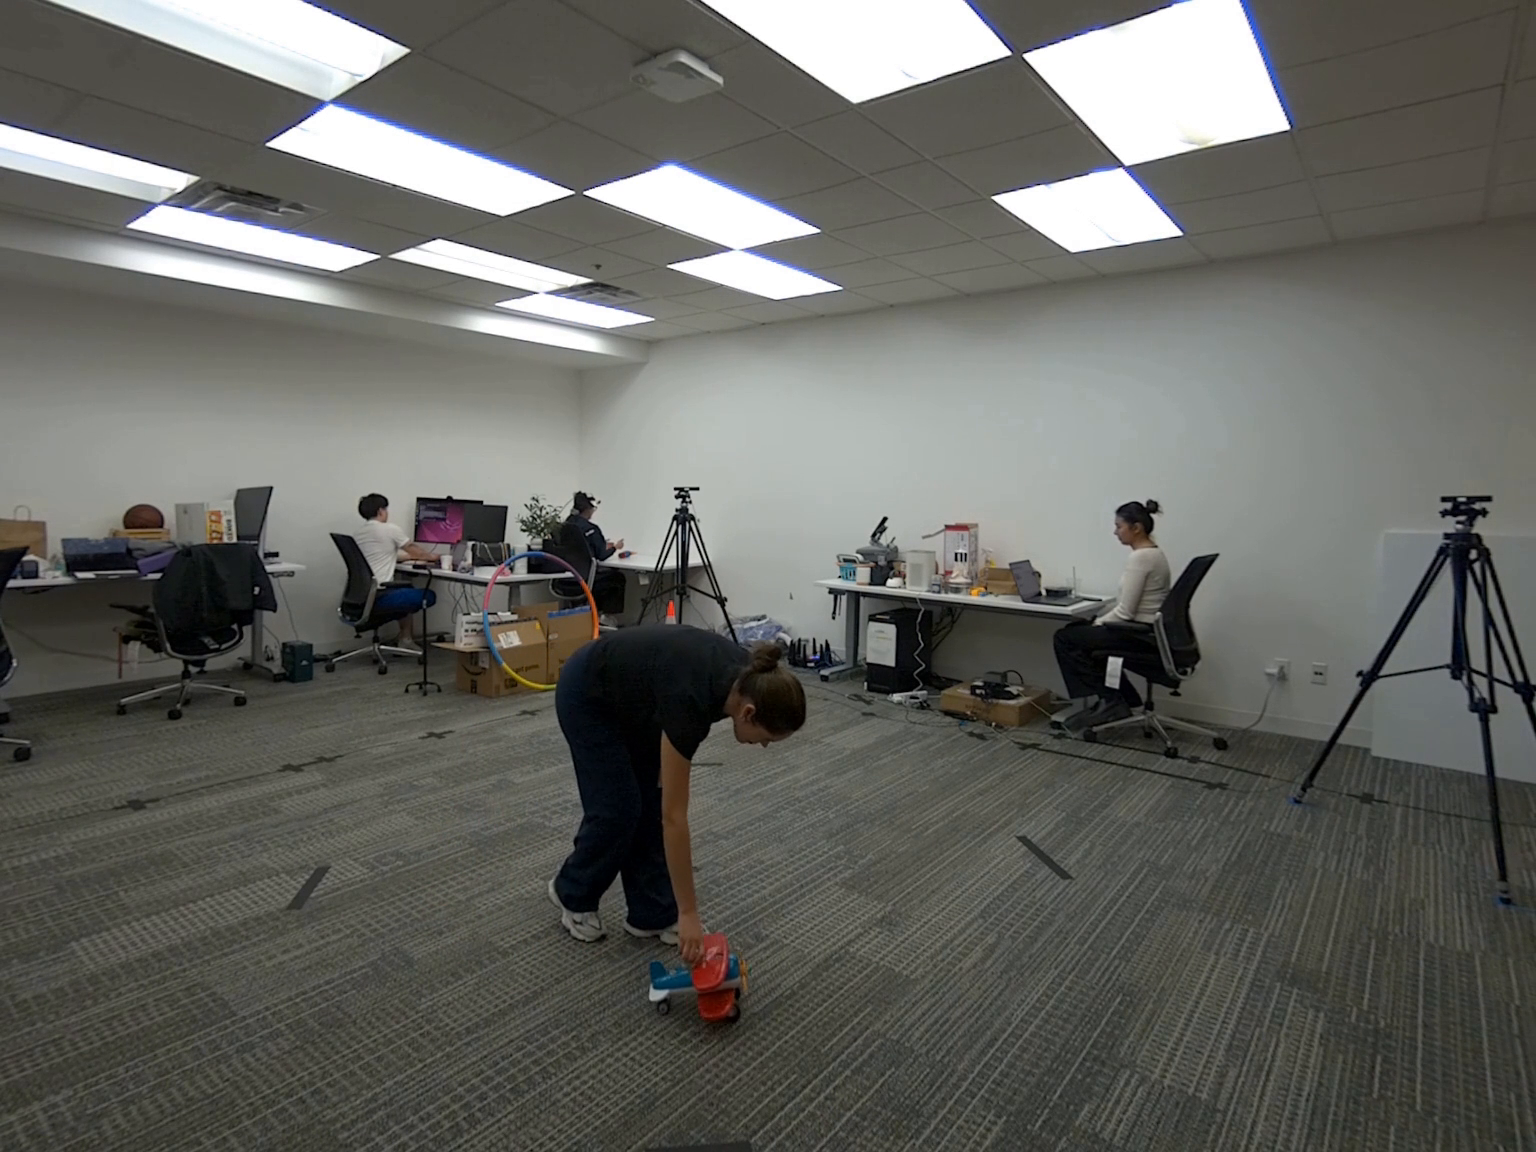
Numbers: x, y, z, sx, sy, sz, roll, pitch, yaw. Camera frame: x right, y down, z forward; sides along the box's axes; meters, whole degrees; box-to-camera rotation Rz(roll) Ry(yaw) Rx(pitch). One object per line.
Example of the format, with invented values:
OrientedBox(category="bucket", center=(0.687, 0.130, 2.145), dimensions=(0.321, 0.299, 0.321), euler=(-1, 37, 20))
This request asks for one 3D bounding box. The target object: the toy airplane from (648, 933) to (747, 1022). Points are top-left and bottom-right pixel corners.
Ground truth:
OrientedBox(category="toy airplane", center=(-0.173, 1.079, 2.258), dimensions=(0.252, 0.156, 0.259), euler=(-1, 6, -29))
